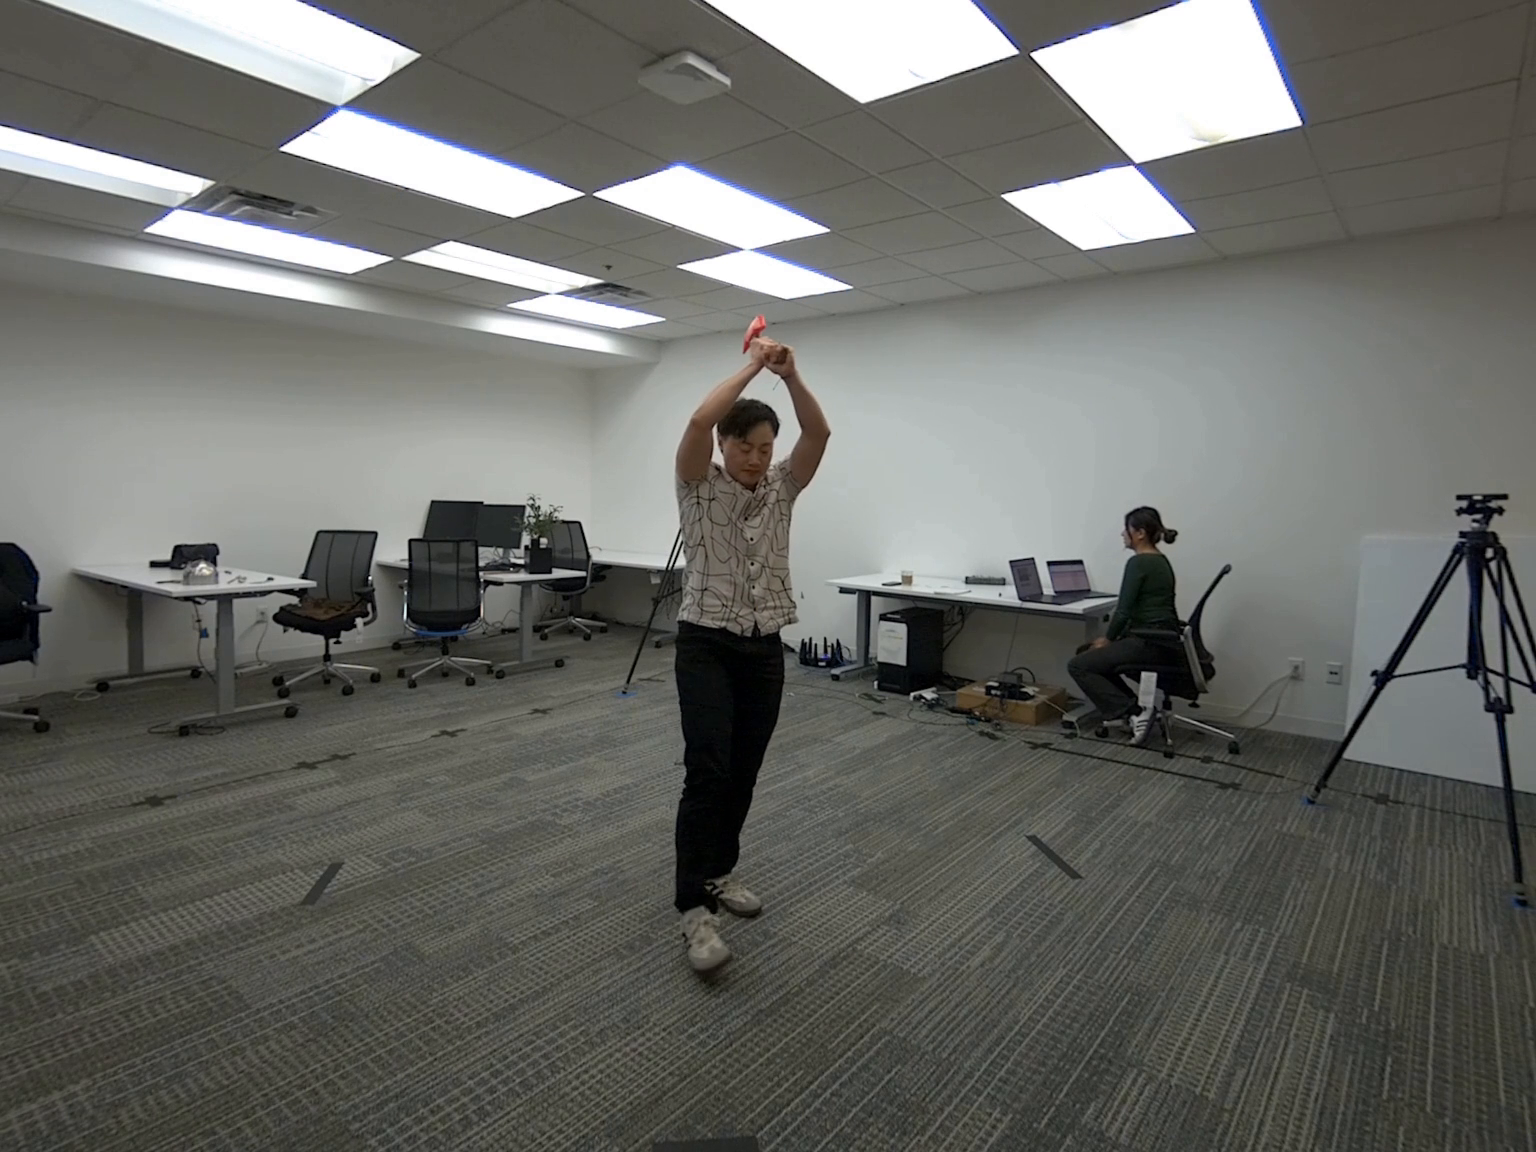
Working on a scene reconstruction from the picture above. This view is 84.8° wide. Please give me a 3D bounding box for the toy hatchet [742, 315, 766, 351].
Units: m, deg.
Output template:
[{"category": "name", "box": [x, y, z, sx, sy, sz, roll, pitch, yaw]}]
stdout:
[{"category": "toy hatchet", "box": [-0.017, -0.736, 2.596, 0.029, 0.130, 0.280, 16, 10, -28]}]
